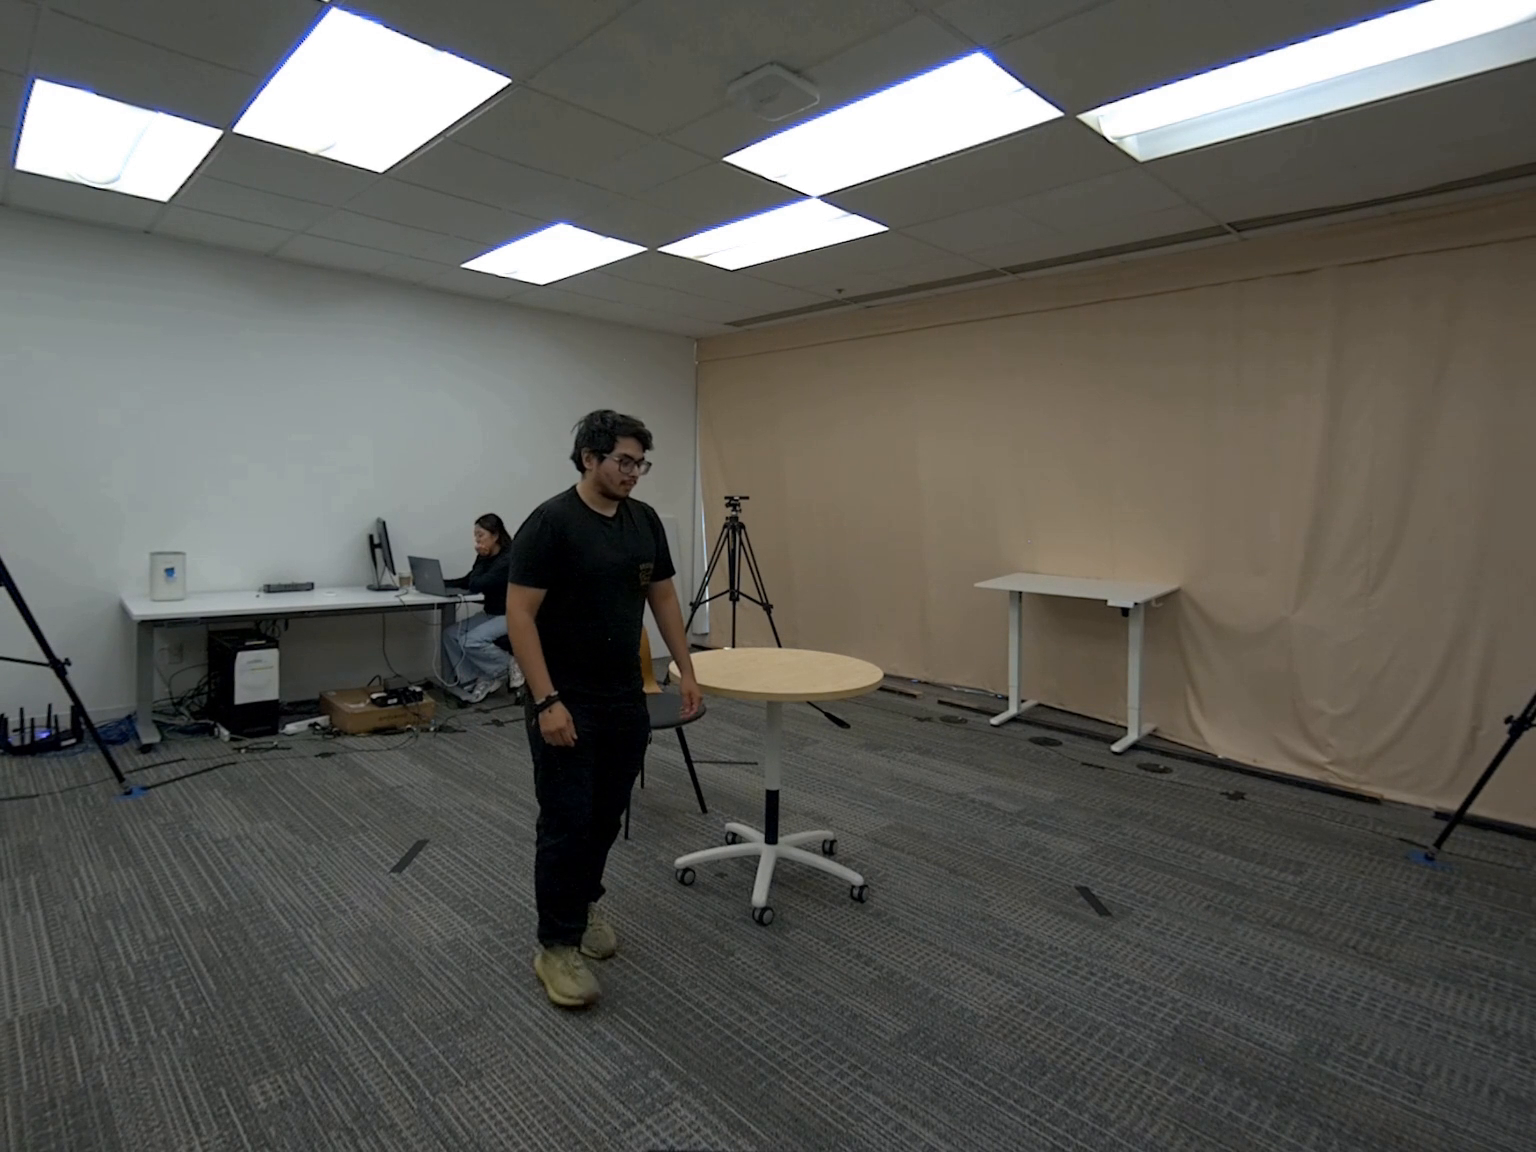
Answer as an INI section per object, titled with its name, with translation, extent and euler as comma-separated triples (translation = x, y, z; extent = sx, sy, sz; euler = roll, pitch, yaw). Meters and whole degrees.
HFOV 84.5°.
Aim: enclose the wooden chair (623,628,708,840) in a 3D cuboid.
[wooden chair]
translation = -0.574, 0.616, 3.682
extent = 0.535, 0.877, 0.467
euler = -1, 0, 44
